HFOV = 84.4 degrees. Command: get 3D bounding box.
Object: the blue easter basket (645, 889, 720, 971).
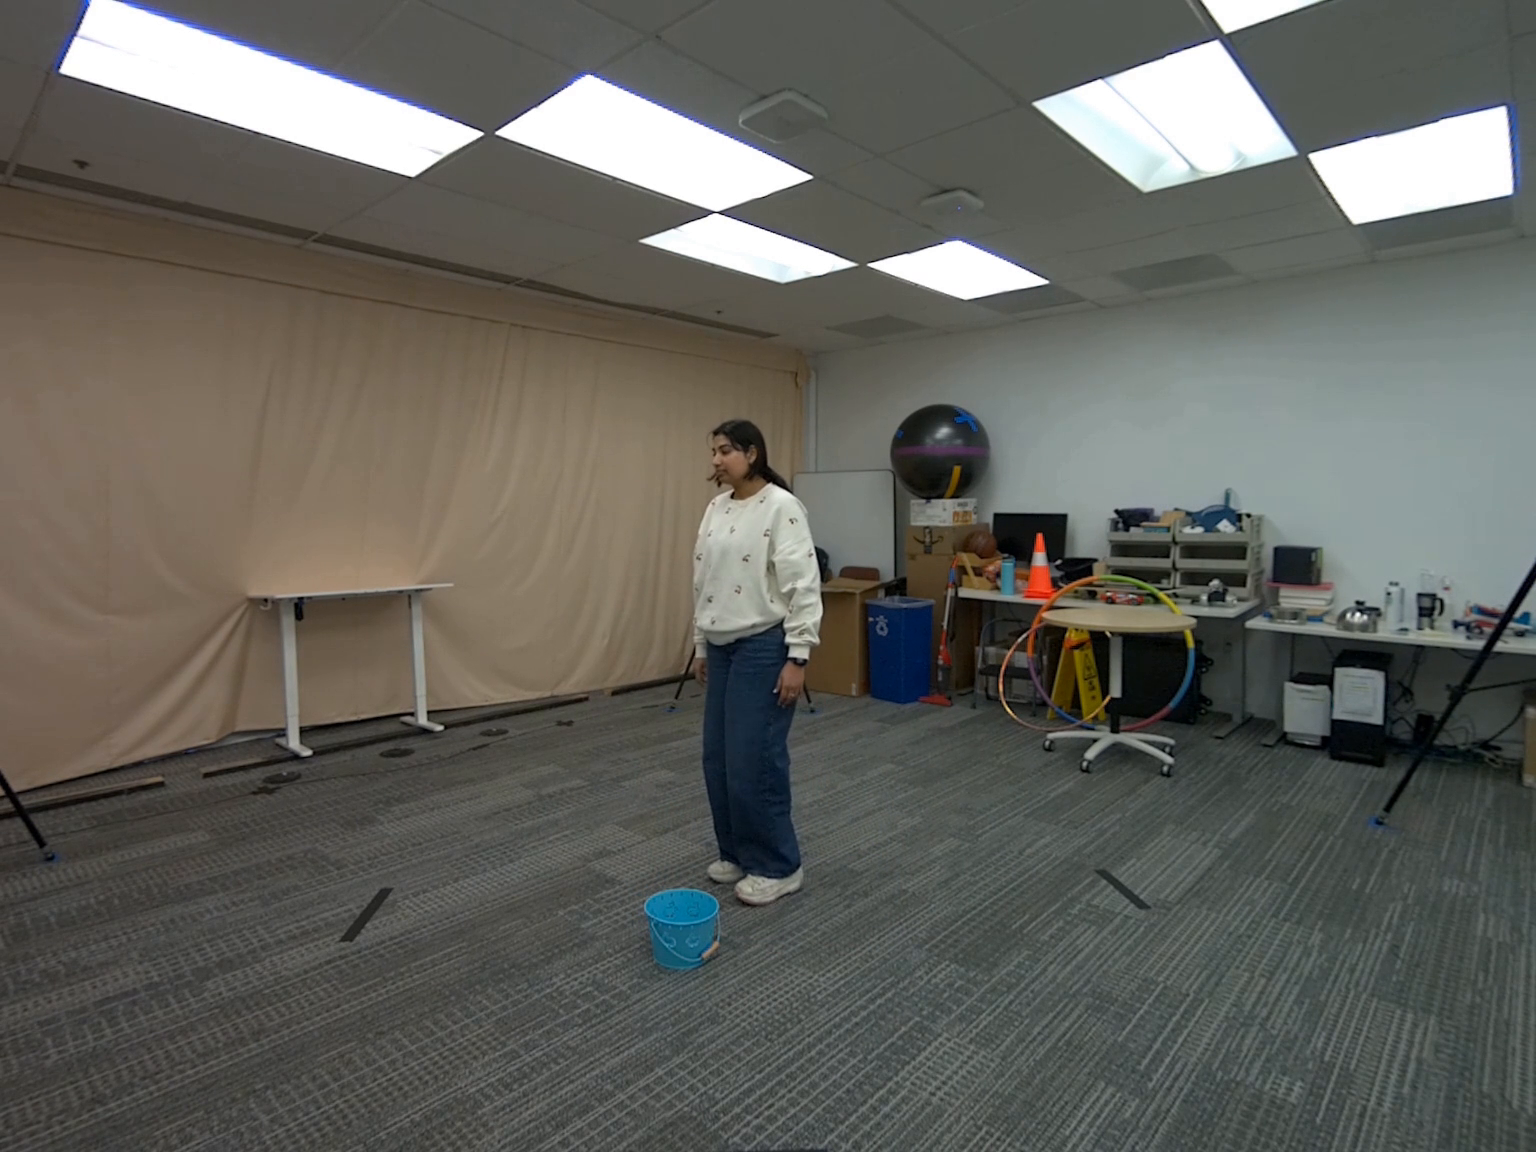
[{"bbox_3d":[-0.261,1.094,2.609,0.243,0.155,0.244,-1,4,-2],"label":"blue easter basket"}]
